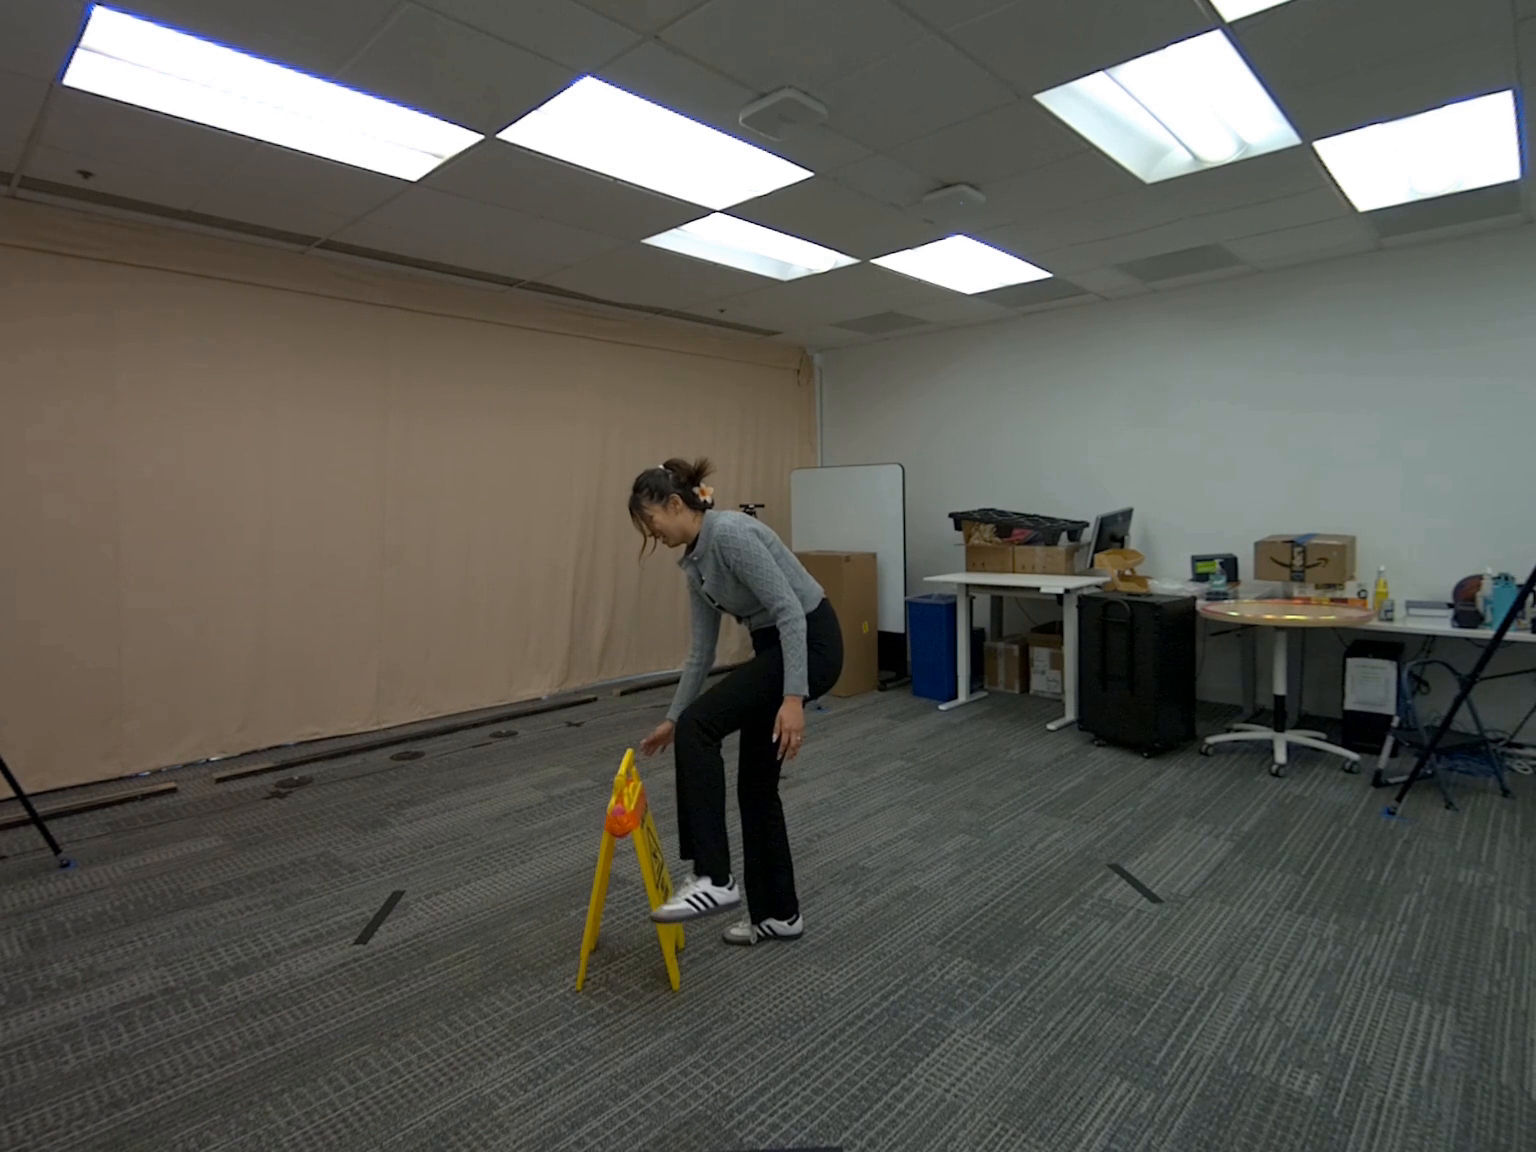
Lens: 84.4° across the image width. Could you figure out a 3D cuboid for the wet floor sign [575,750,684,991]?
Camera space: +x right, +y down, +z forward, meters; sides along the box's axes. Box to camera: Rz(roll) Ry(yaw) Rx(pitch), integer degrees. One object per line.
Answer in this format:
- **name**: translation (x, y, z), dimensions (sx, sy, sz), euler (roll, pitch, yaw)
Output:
- **wet floor sign**: translation (-0.415, 0.858, 2.530), dimensions (0.291, 0.644, 0.282), euler (-2, 5, 2)
